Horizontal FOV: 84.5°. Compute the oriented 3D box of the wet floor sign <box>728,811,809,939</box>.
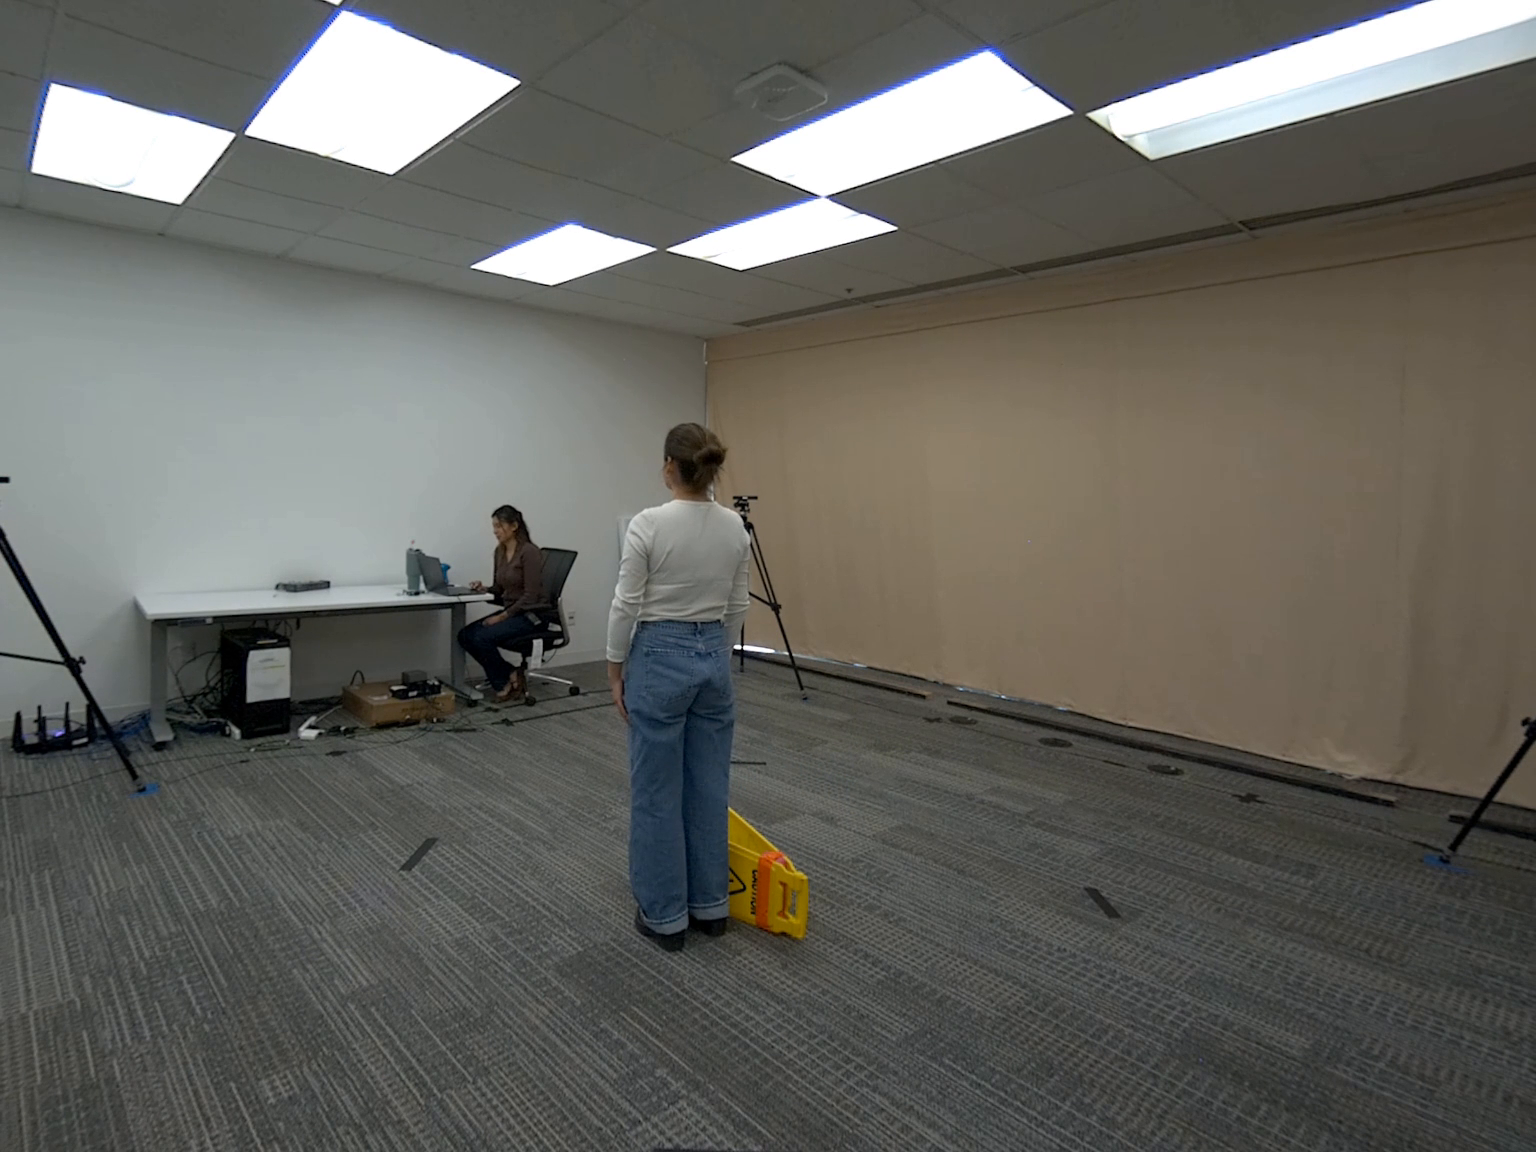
[{"bbox_3d":[-0.107,0.998,2.855,0.283,0.281,0.663,-3,8,-42],"label":"wet floor sign"}]
